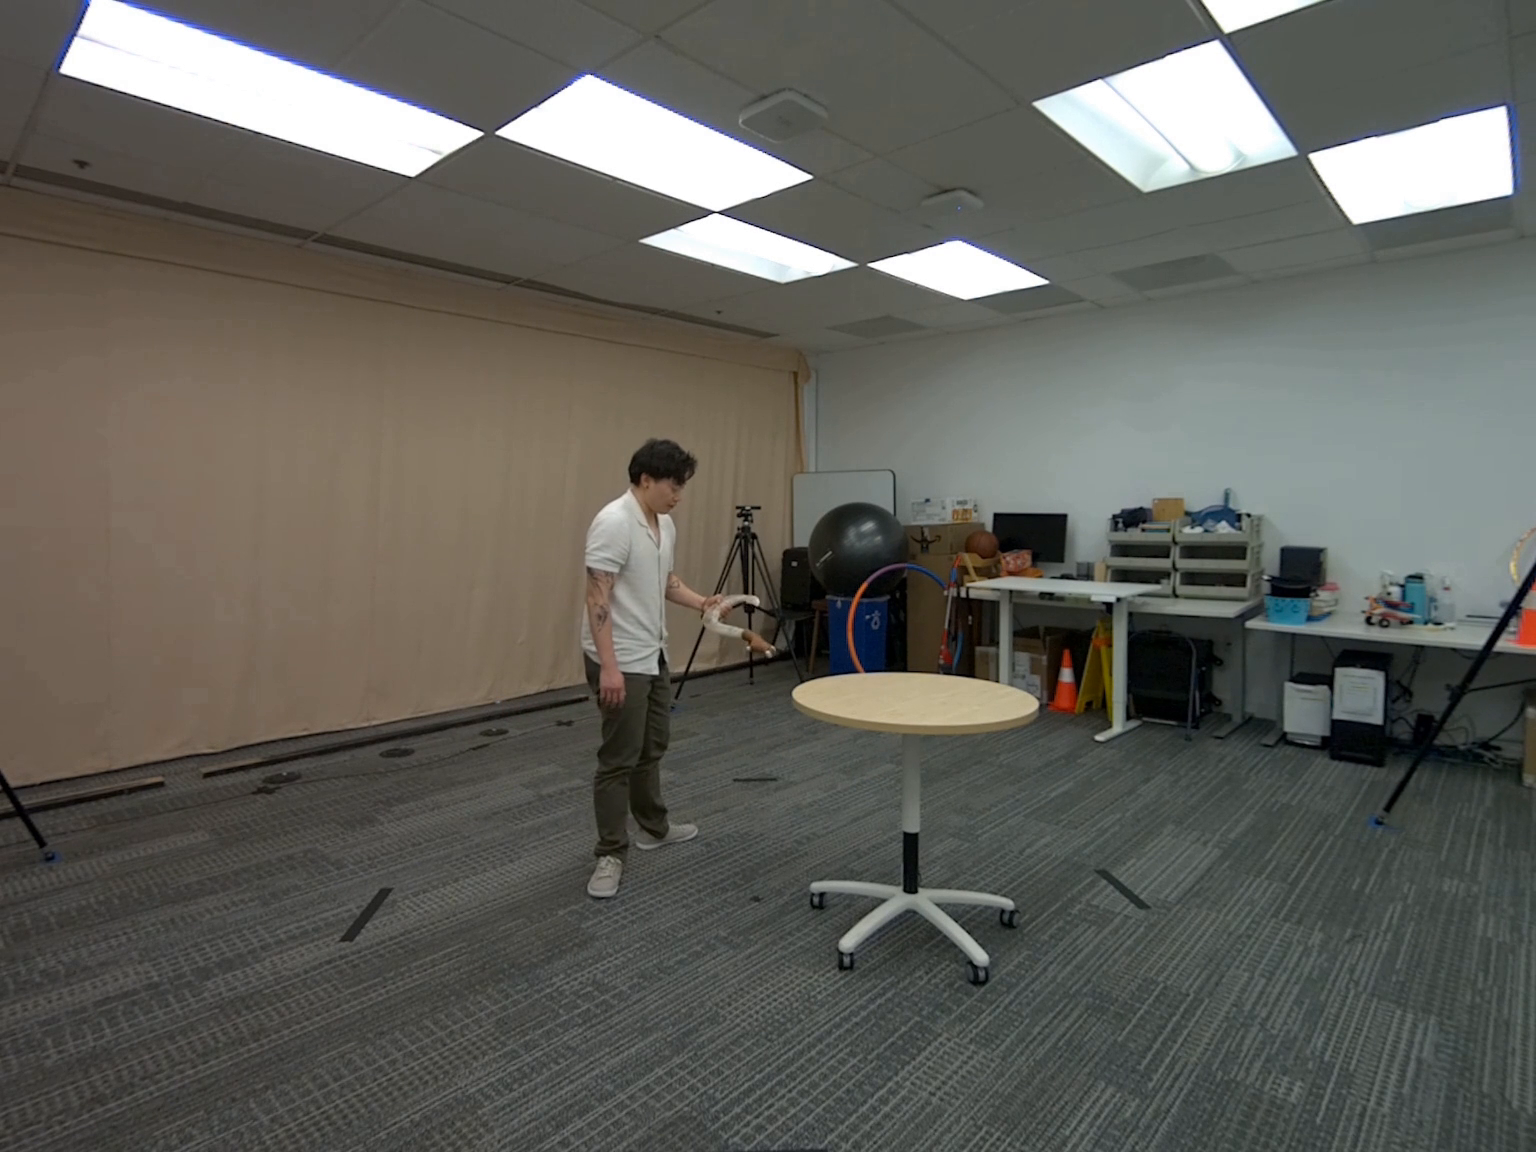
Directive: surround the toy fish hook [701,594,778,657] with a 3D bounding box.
[{"bbox_3d":[-0.071,0.179,3.129,0.223,0.047,0.523,-37,30,-13],"label":"toy fish hook"}]
